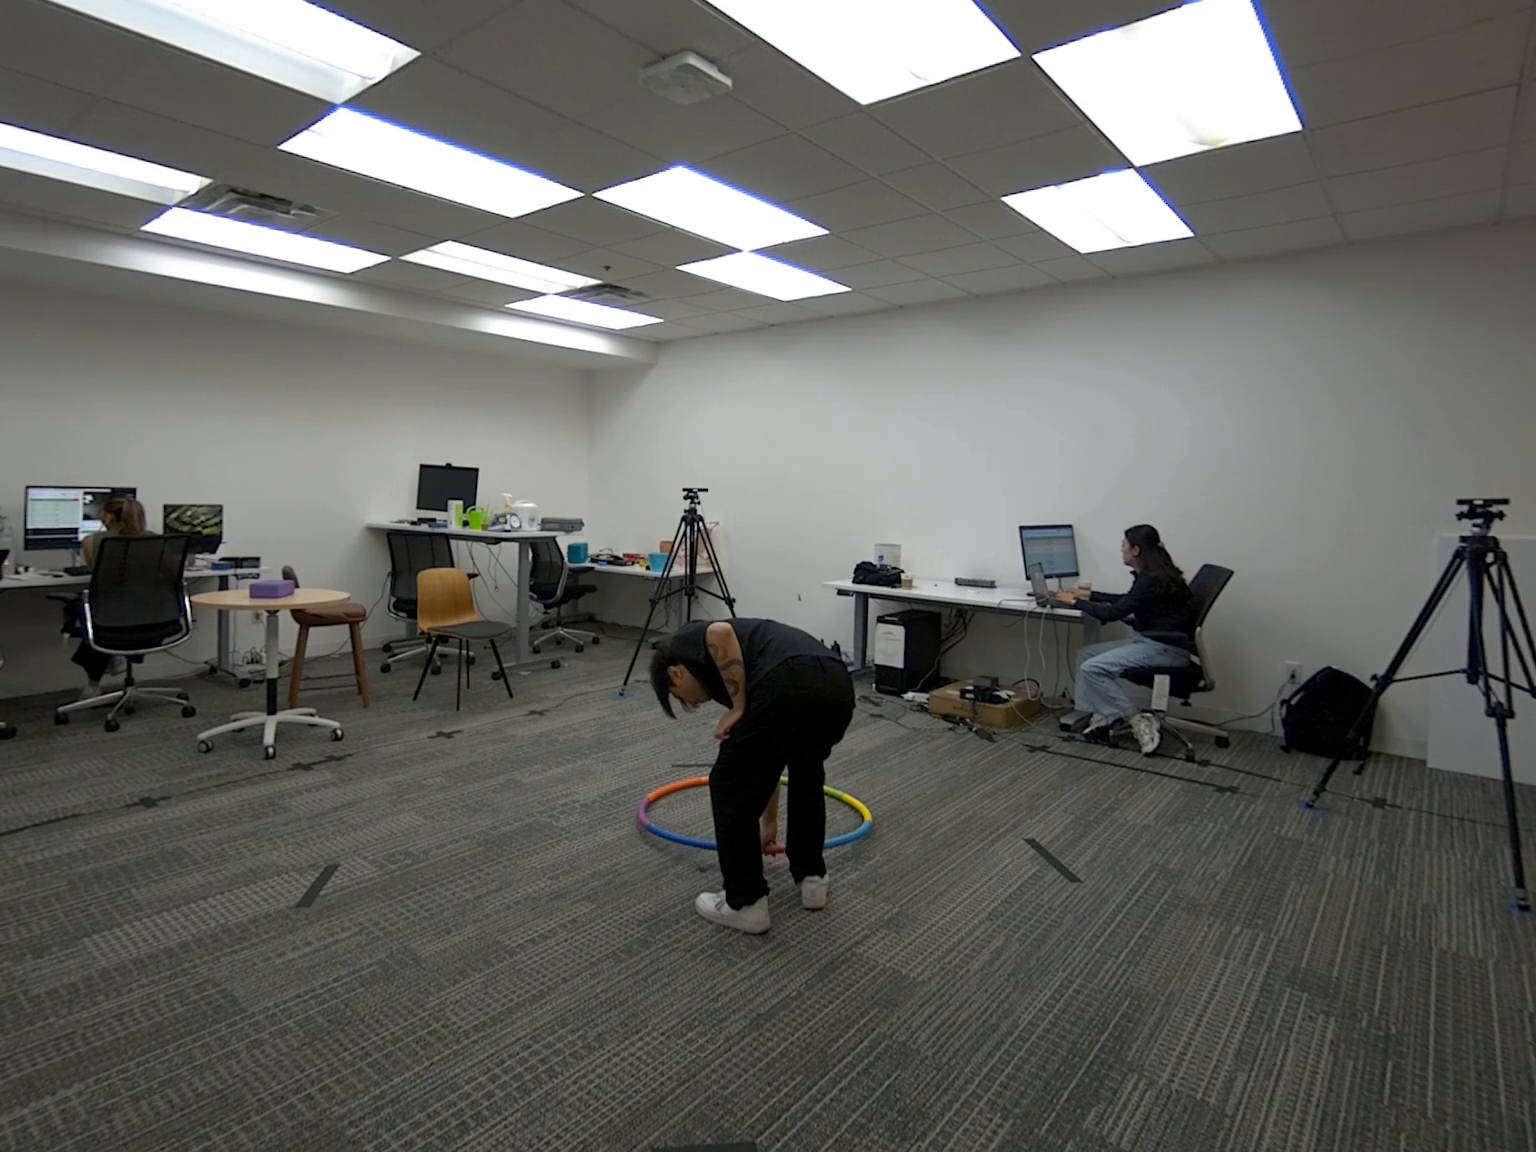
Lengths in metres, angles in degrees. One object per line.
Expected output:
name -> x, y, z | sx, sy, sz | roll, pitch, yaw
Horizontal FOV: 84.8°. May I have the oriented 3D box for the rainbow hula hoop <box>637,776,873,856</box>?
rainbow hula hoop -> -0.073, 0.975, 3.587 | 0.978, 0.035, 0.981 | 1, 3, -2
